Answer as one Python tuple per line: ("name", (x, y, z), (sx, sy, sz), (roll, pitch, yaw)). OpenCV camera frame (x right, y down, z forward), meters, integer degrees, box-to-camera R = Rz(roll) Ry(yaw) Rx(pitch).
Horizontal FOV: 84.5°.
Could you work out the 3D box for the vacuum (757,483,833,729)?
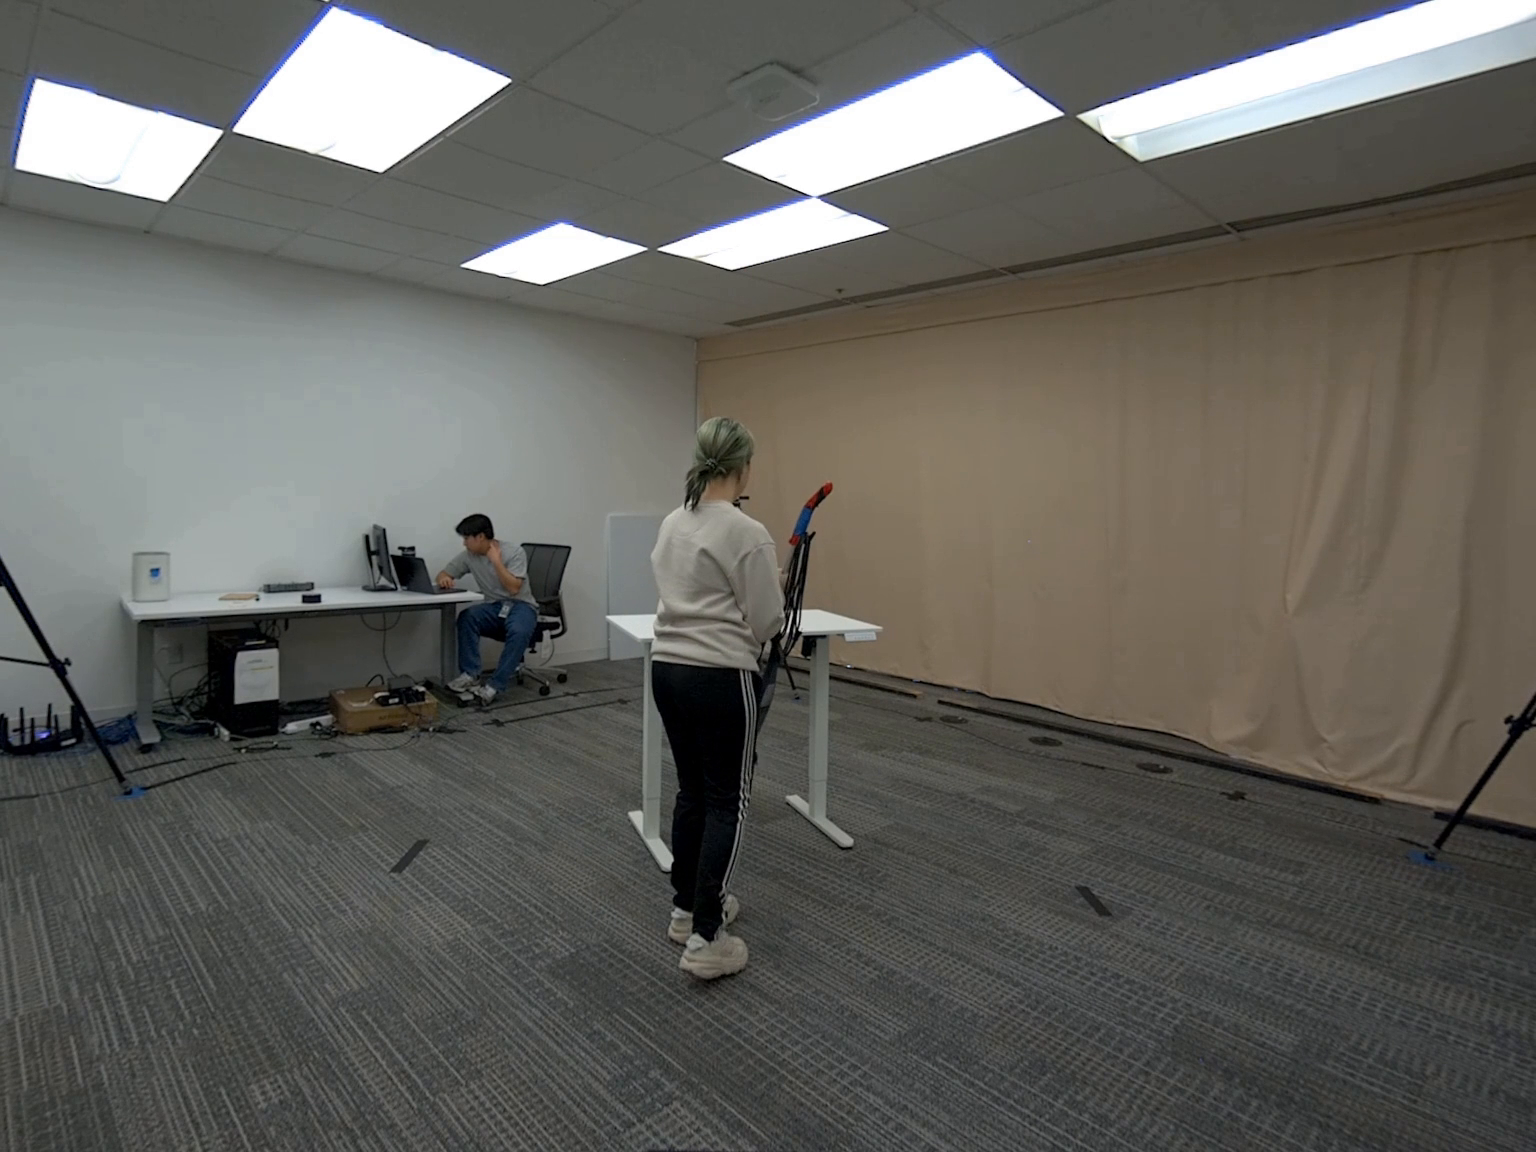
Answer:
("vacuum", (0.023, 0.195, 2.763), (0.246, 1.041, 0.148), (0, 25, -46))
